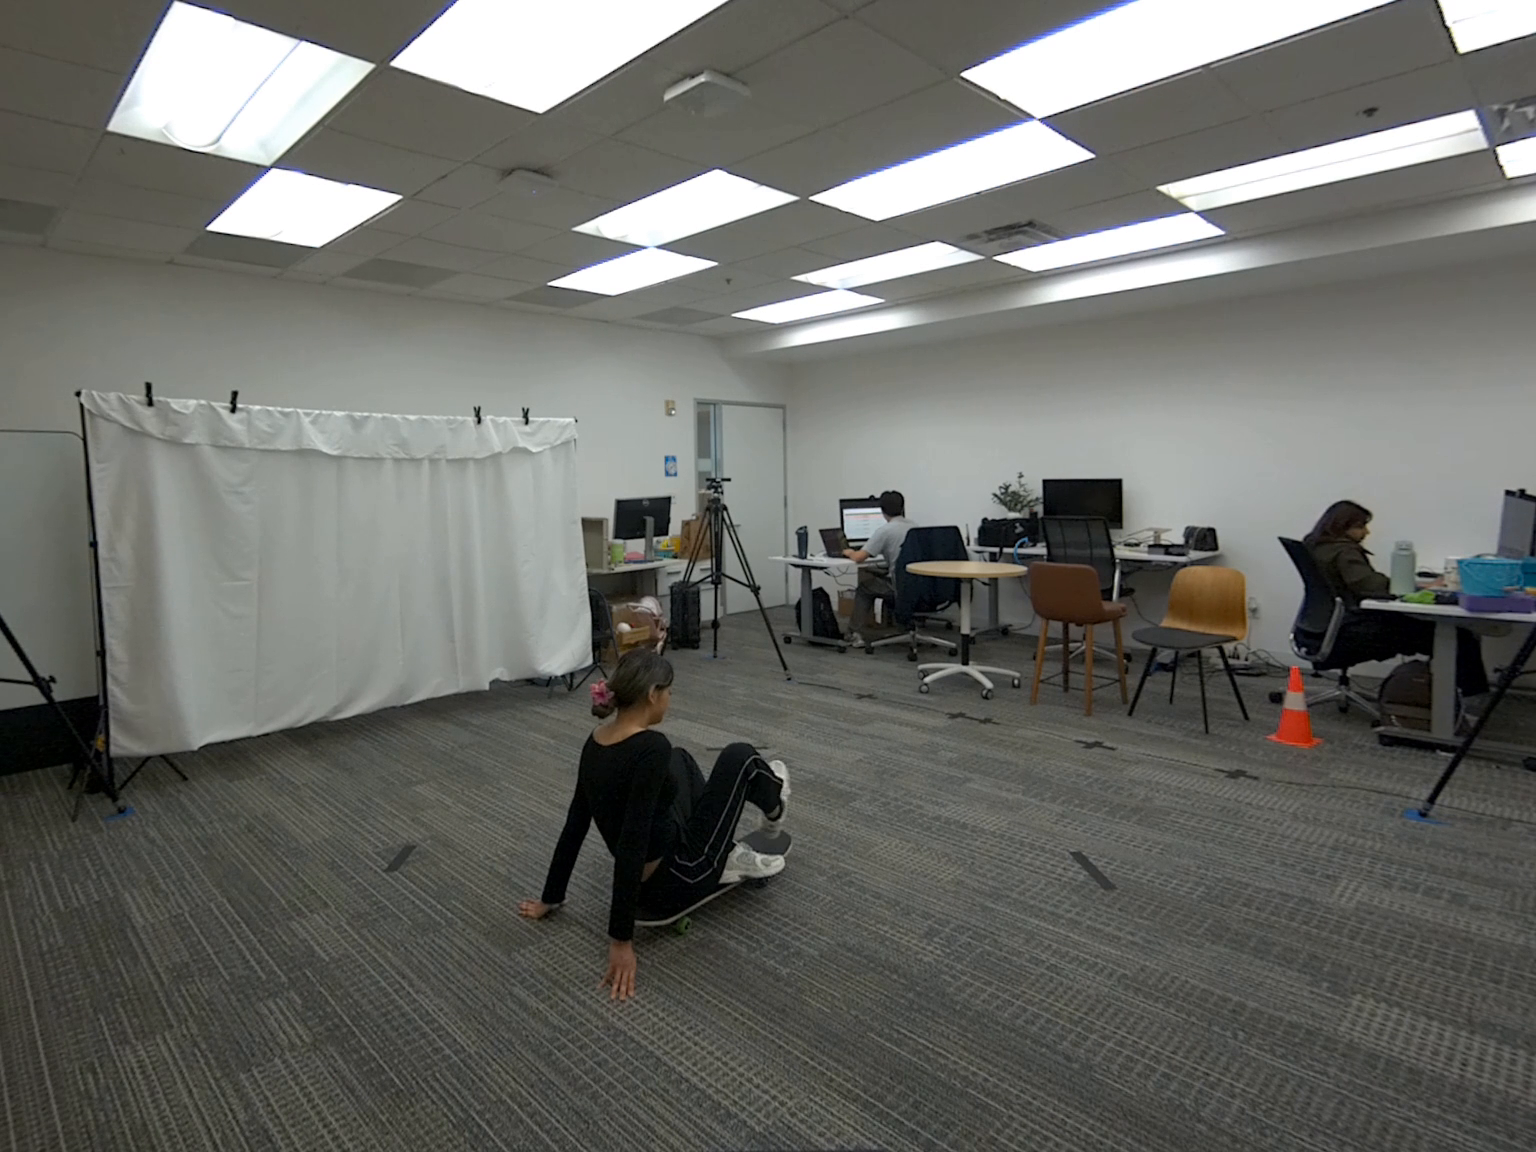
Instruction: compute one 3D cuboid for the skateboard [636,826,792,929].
[{"bbox_3d":[-0.183,1.021,2.837,0.200,0.109,0.766,8,12,39],"label":"skateboard"}]
